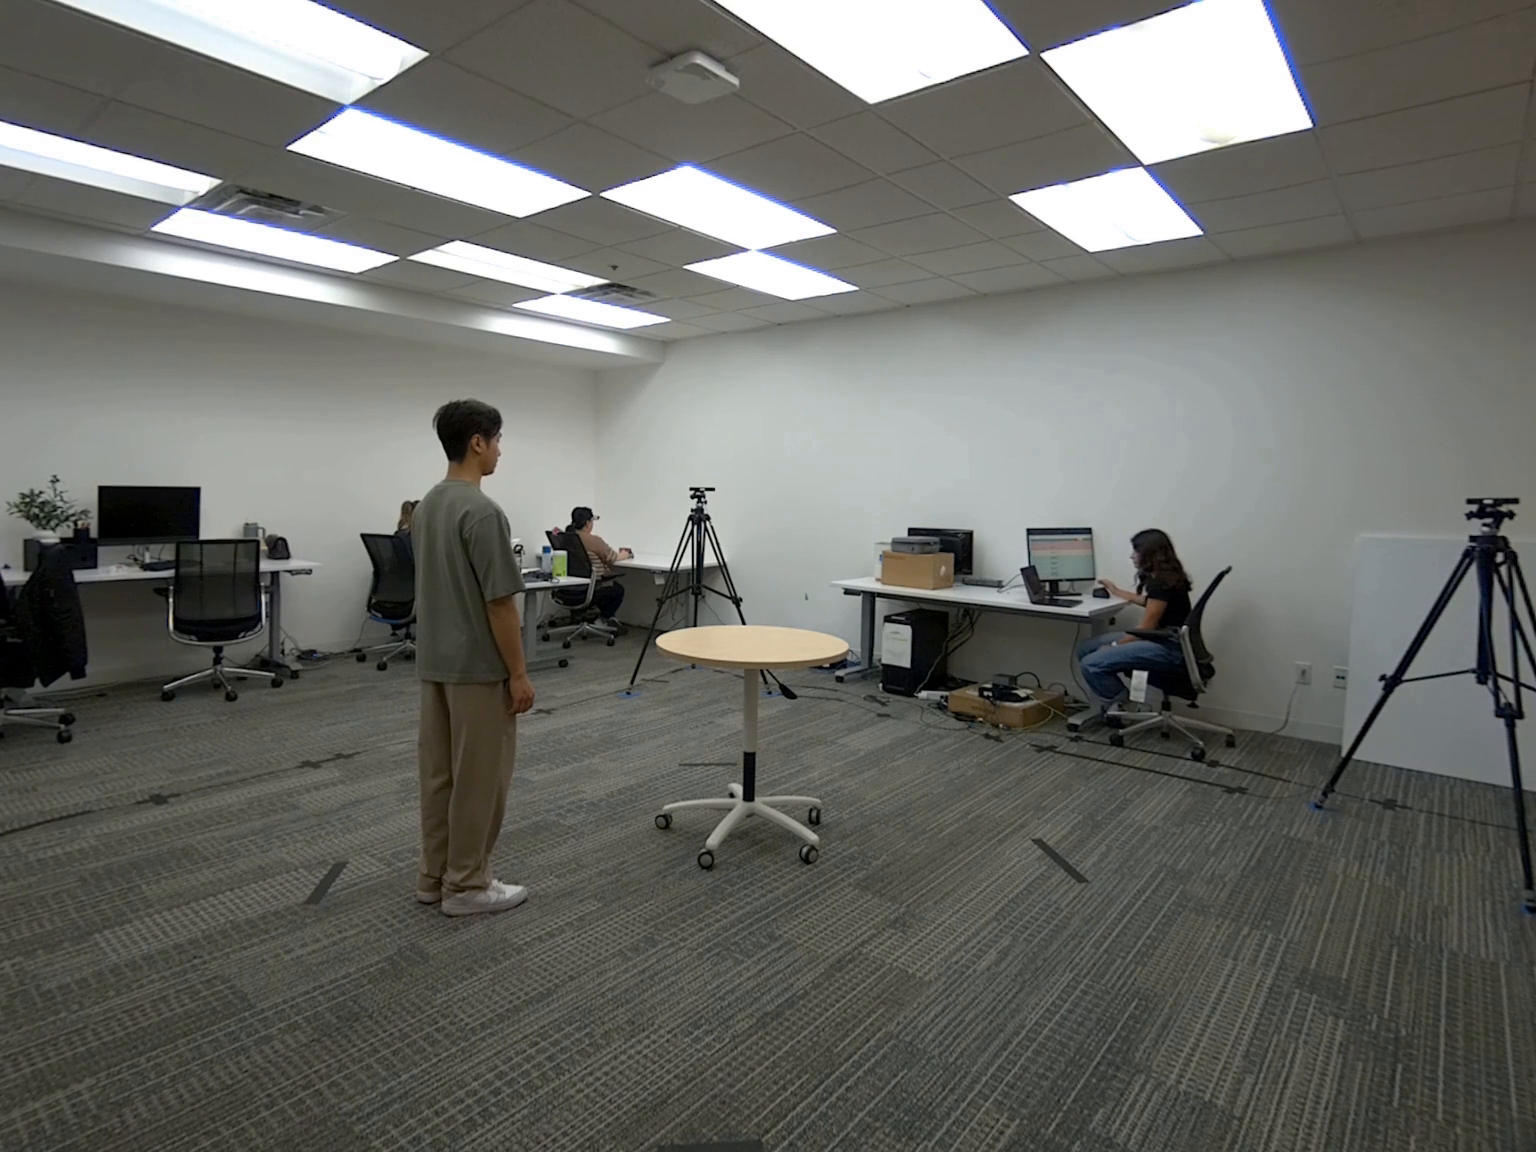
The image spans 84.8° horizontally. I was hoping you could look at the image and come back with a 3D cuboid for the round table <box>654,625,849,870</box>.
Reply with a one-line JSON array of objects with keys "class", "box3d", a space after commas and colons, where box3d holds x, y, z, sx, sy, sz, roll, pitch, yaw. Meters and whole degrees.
[{"class": "round table", "box3d": [-0.084, 0.652, 3.414, 0.763, 0.791, 0.768, 1, 4, -2]}]
